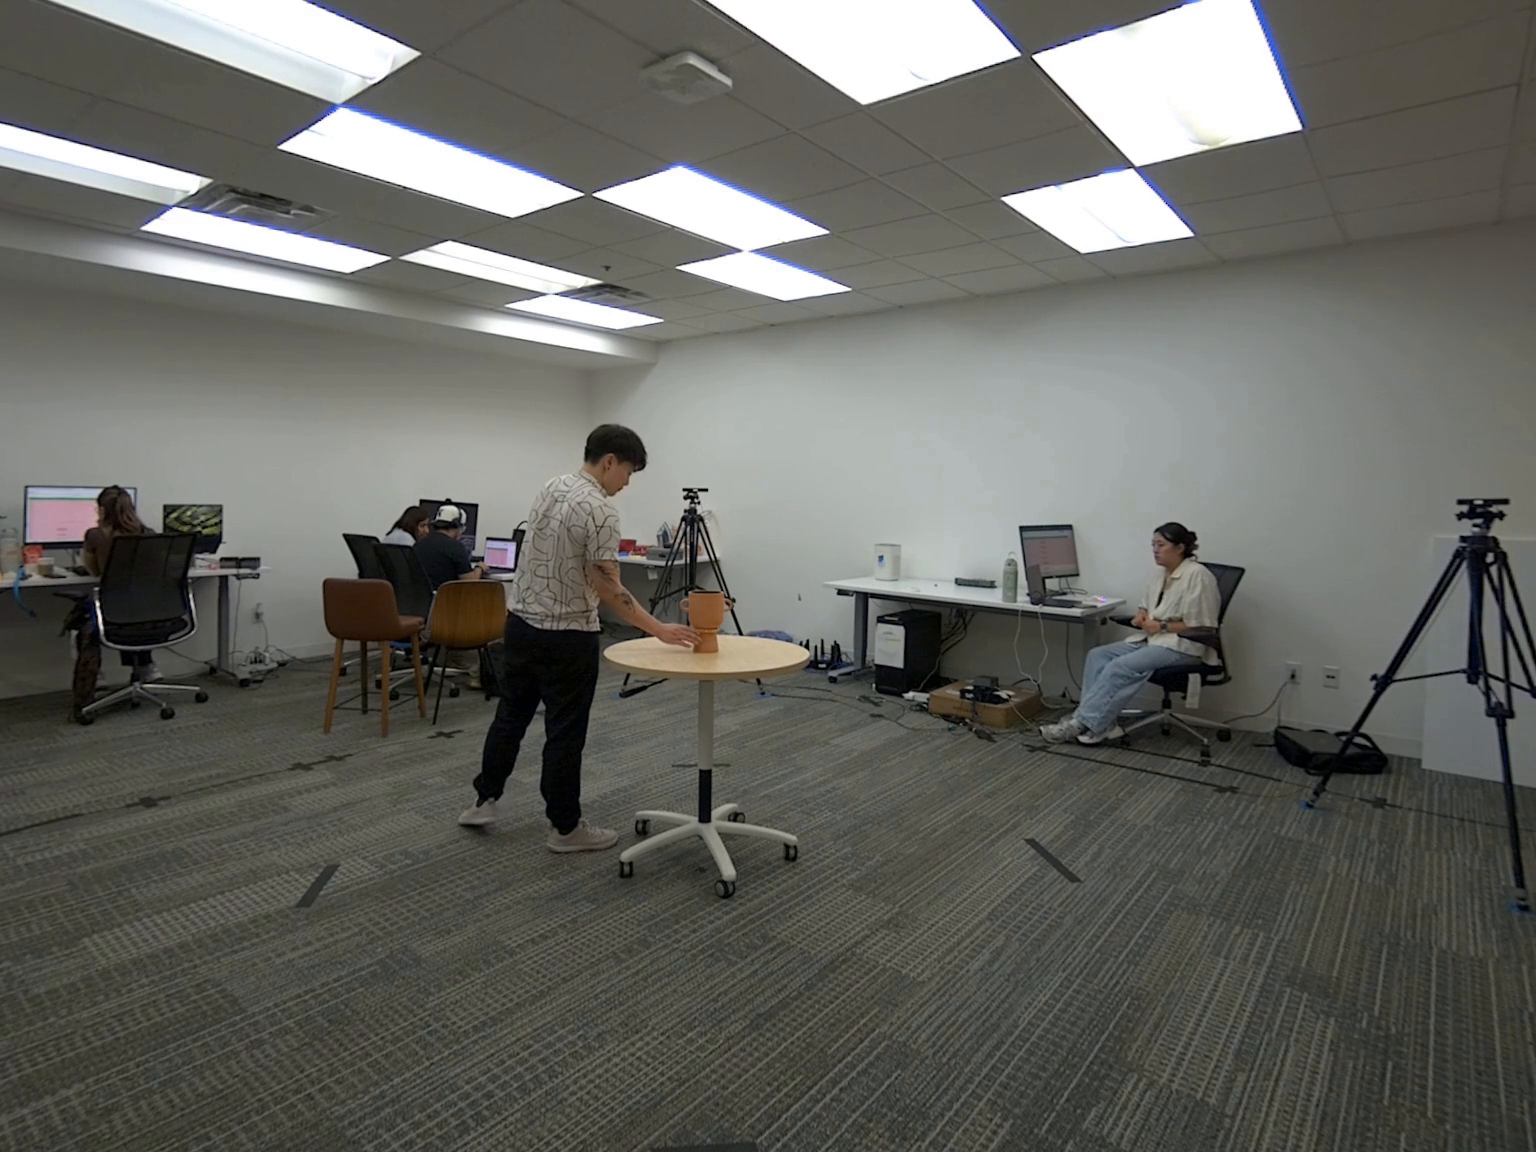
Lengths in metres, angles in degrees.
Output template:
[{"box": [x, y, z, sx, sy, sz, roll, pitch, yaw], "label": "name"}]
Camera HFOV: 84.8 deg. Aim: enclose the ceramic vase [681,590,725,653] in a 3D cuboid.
[{"box": [-0.242, 0.171, 3.178, 0.163, 0.219, 0.131, 3, 5, 29], "label": "ceramic vase"}]
